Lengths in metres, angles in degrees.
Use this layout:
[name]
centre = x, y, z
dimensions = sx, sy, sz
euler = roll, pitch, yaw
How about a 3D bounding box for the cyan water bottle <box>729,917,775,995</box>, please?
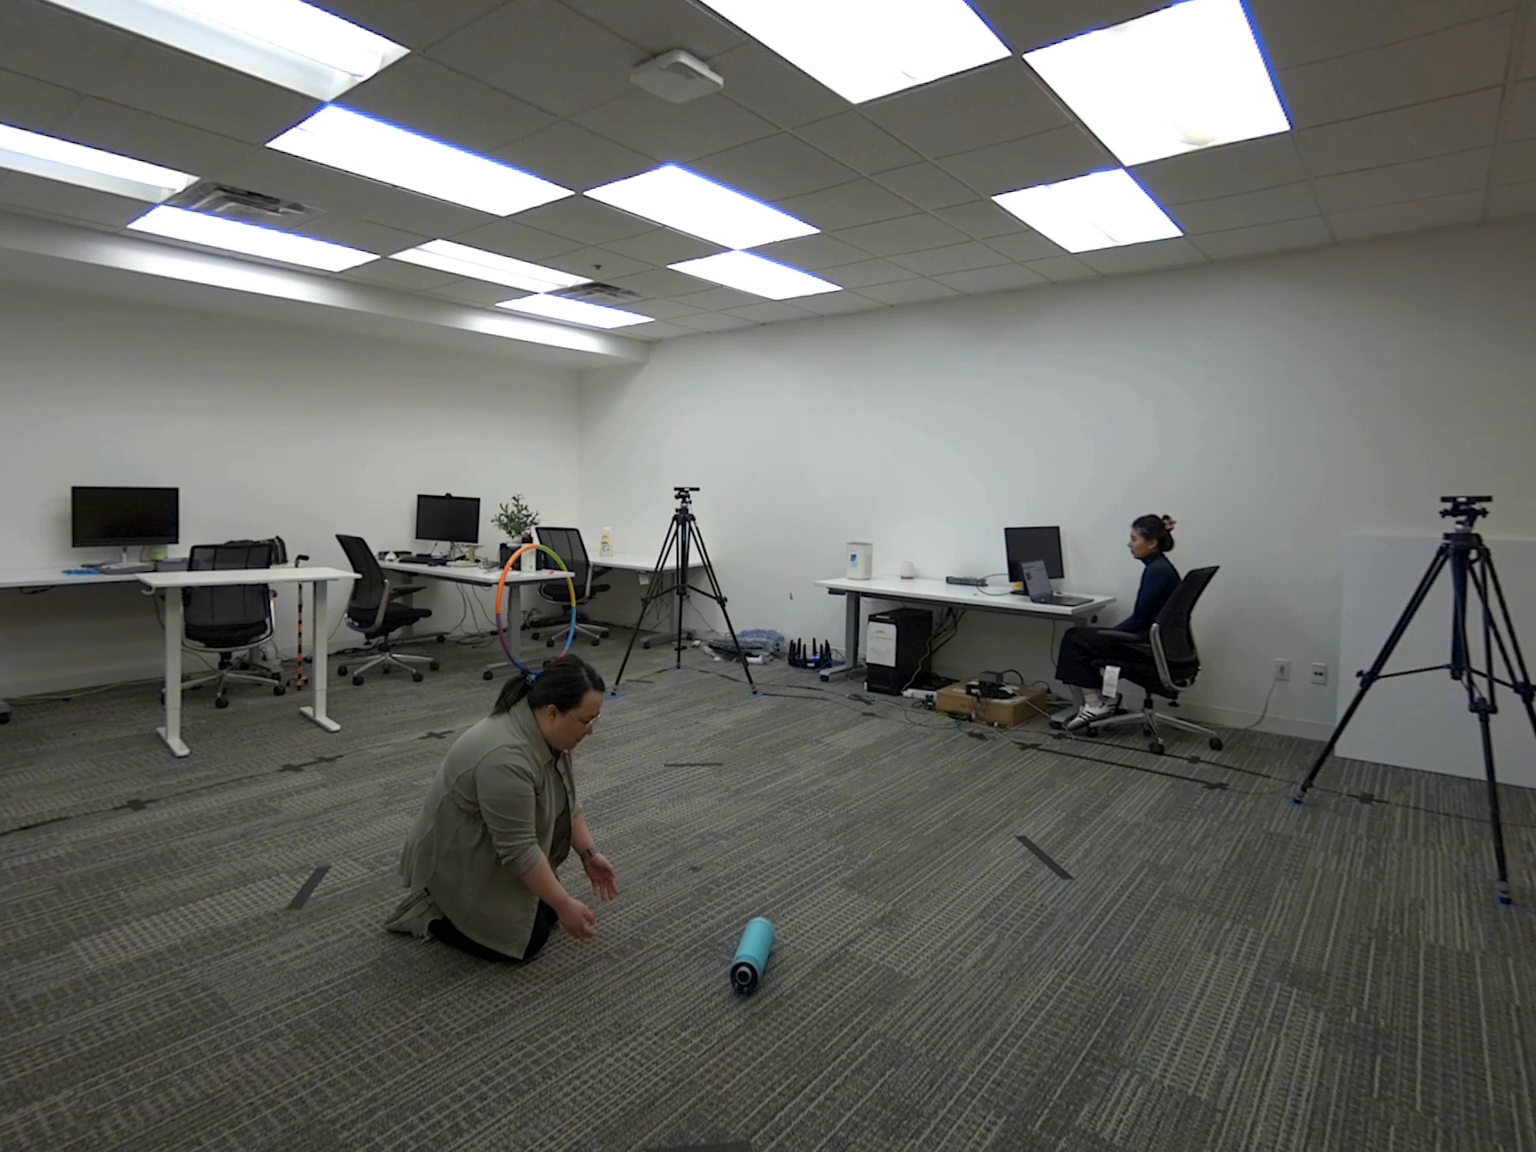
[cyan water bottle]
centre = -0.054, 1.091, 2.438
dimensions = 0.093, 0.092, 0.281
euler = 2, 5, 9
